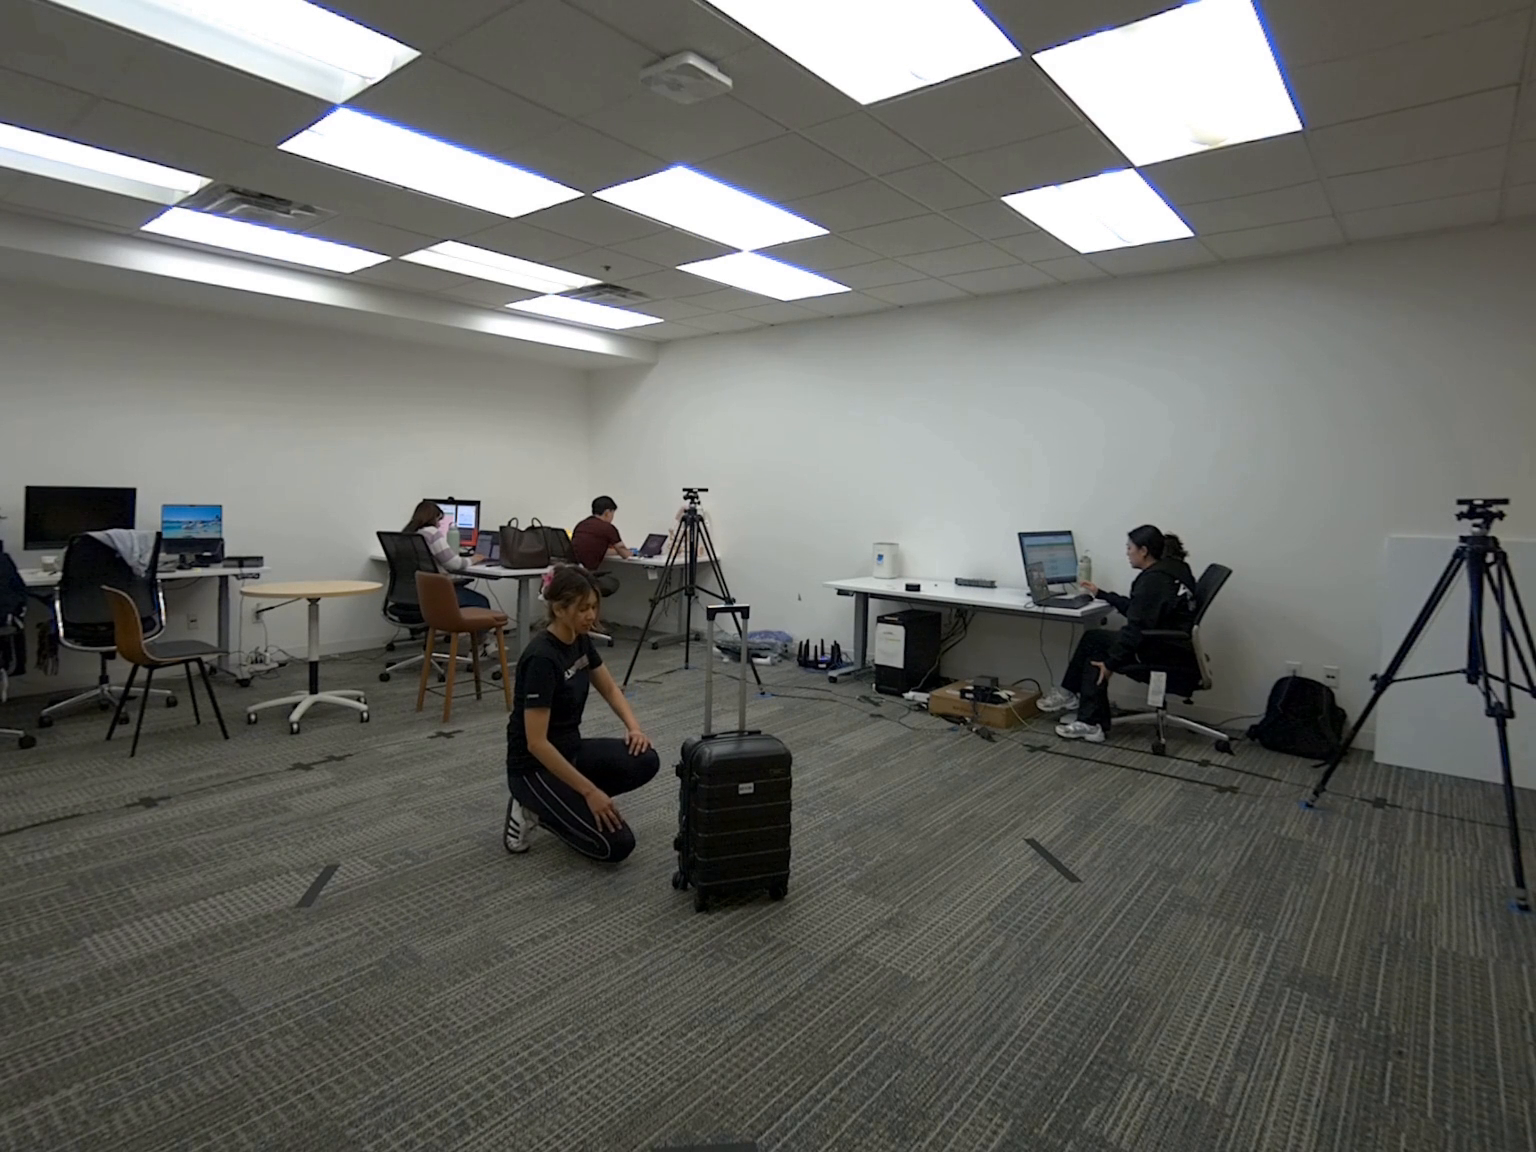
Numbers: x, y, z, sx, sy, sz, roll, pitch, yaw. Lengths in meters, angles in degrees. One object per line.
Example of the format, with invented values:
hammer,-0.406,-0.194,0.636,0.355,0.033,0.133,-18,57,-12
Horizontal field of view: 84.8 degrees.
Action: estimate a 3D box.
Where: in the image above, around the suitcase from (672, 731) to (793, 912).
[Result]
suitcase,-0.116,0.612,2.903,0.376,0.974,0.263,0,5,-20
